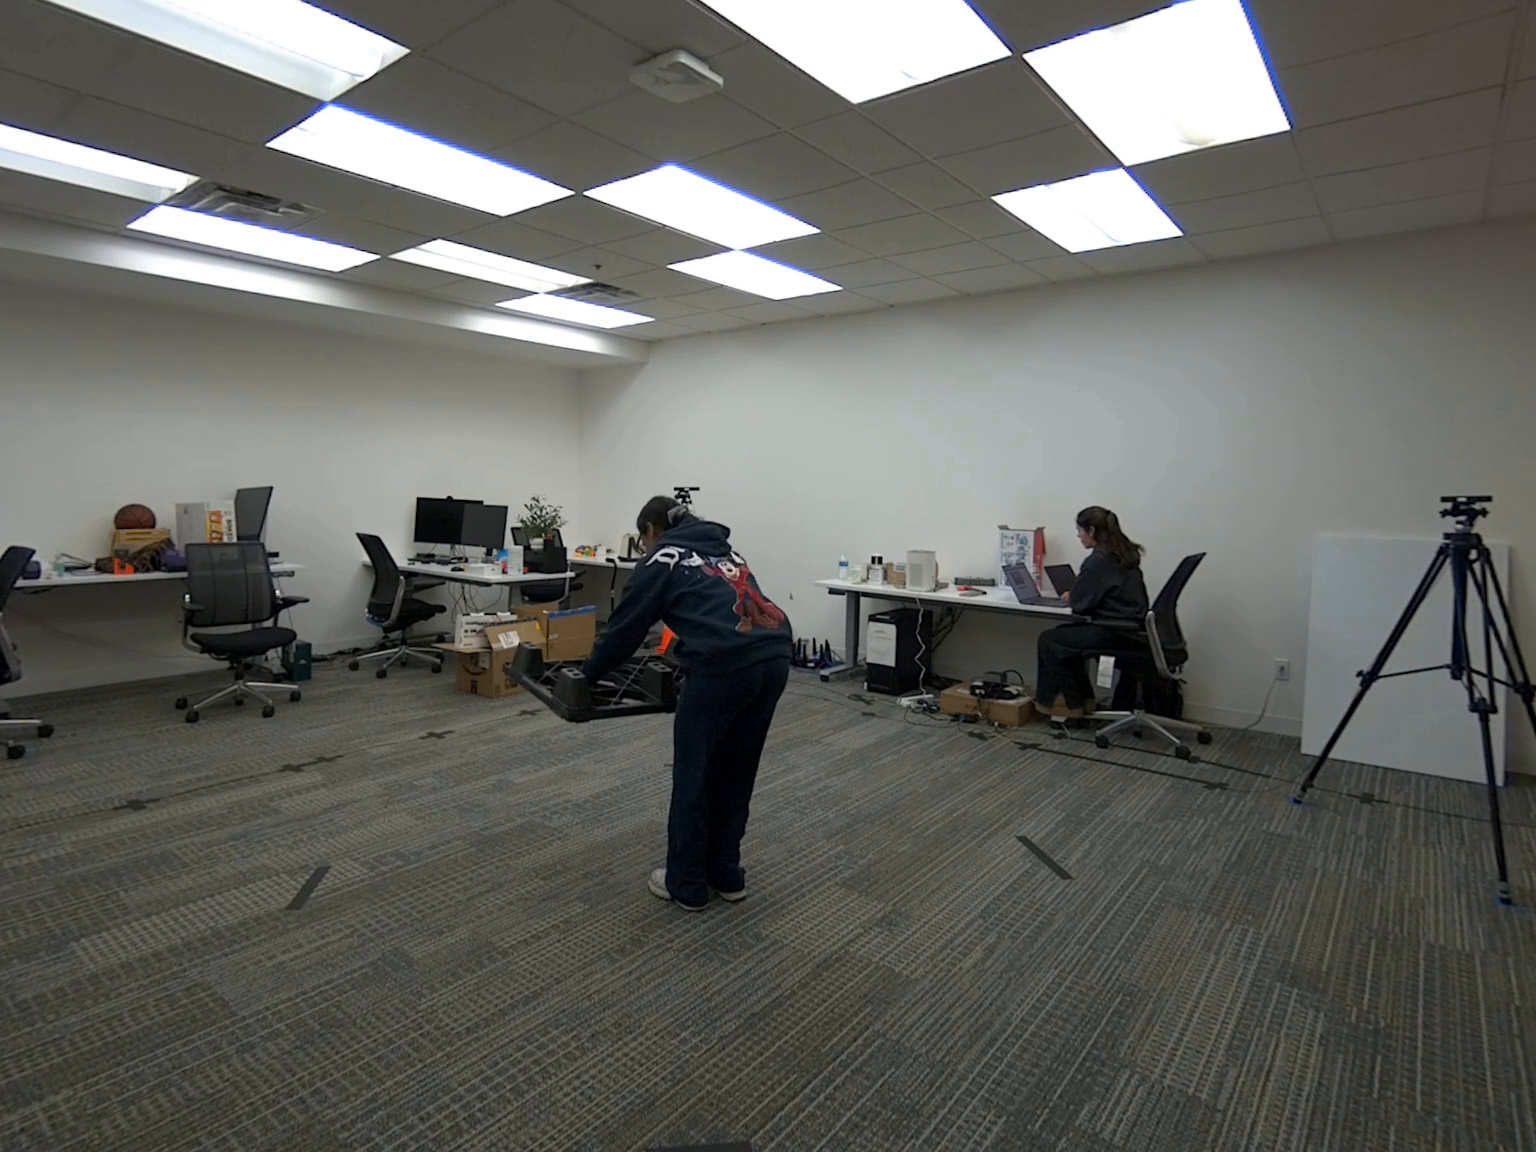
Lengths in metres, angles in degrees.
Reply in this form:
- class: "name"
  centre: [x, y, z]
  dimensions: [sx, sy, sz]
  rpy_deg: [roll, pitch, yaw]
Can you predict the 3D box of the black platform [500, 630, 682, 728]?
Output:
- class: "black platform"
  centre: [-0.516, 0.363, 3.202]
  dimensions: [0.781, 0.142, 0.628]
  rpy_deg: [0, 10, -38]
